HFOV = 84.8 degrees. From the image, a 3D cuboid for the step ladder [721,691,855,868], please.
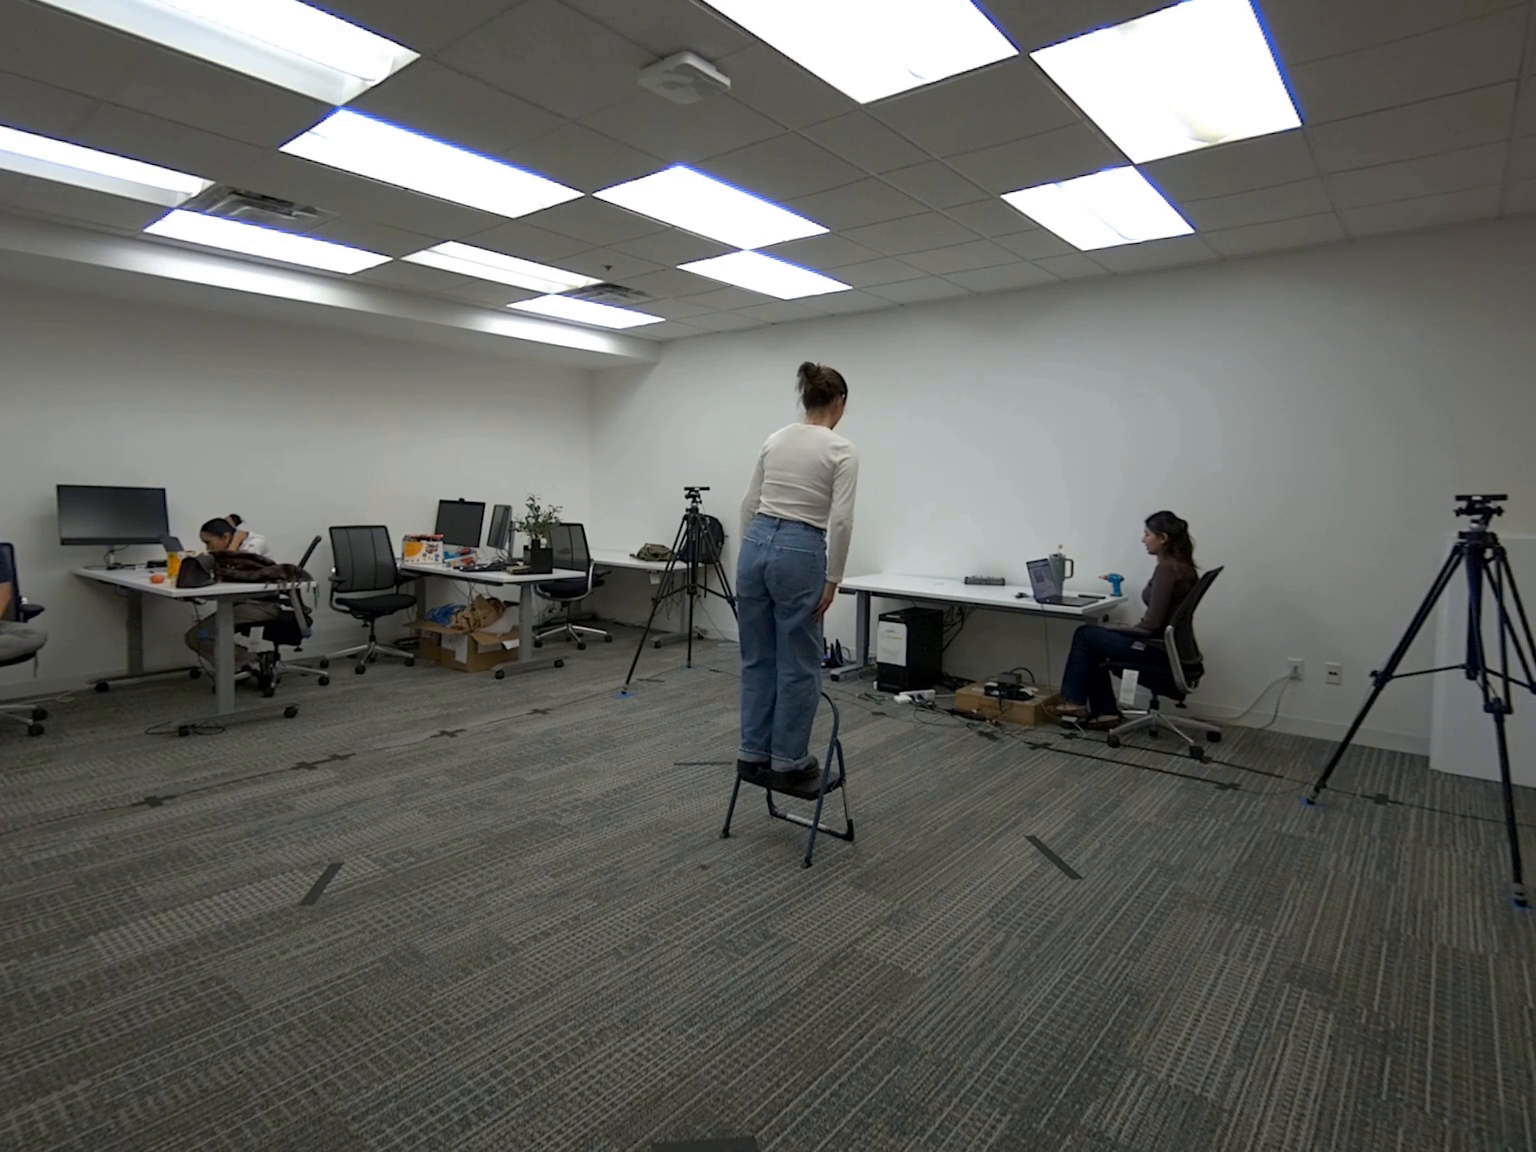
[{"bbox_3d":[0.078,0.739,3.376,0.445,0.604,0.339,4,4,38],"label":"step ladder"}]
